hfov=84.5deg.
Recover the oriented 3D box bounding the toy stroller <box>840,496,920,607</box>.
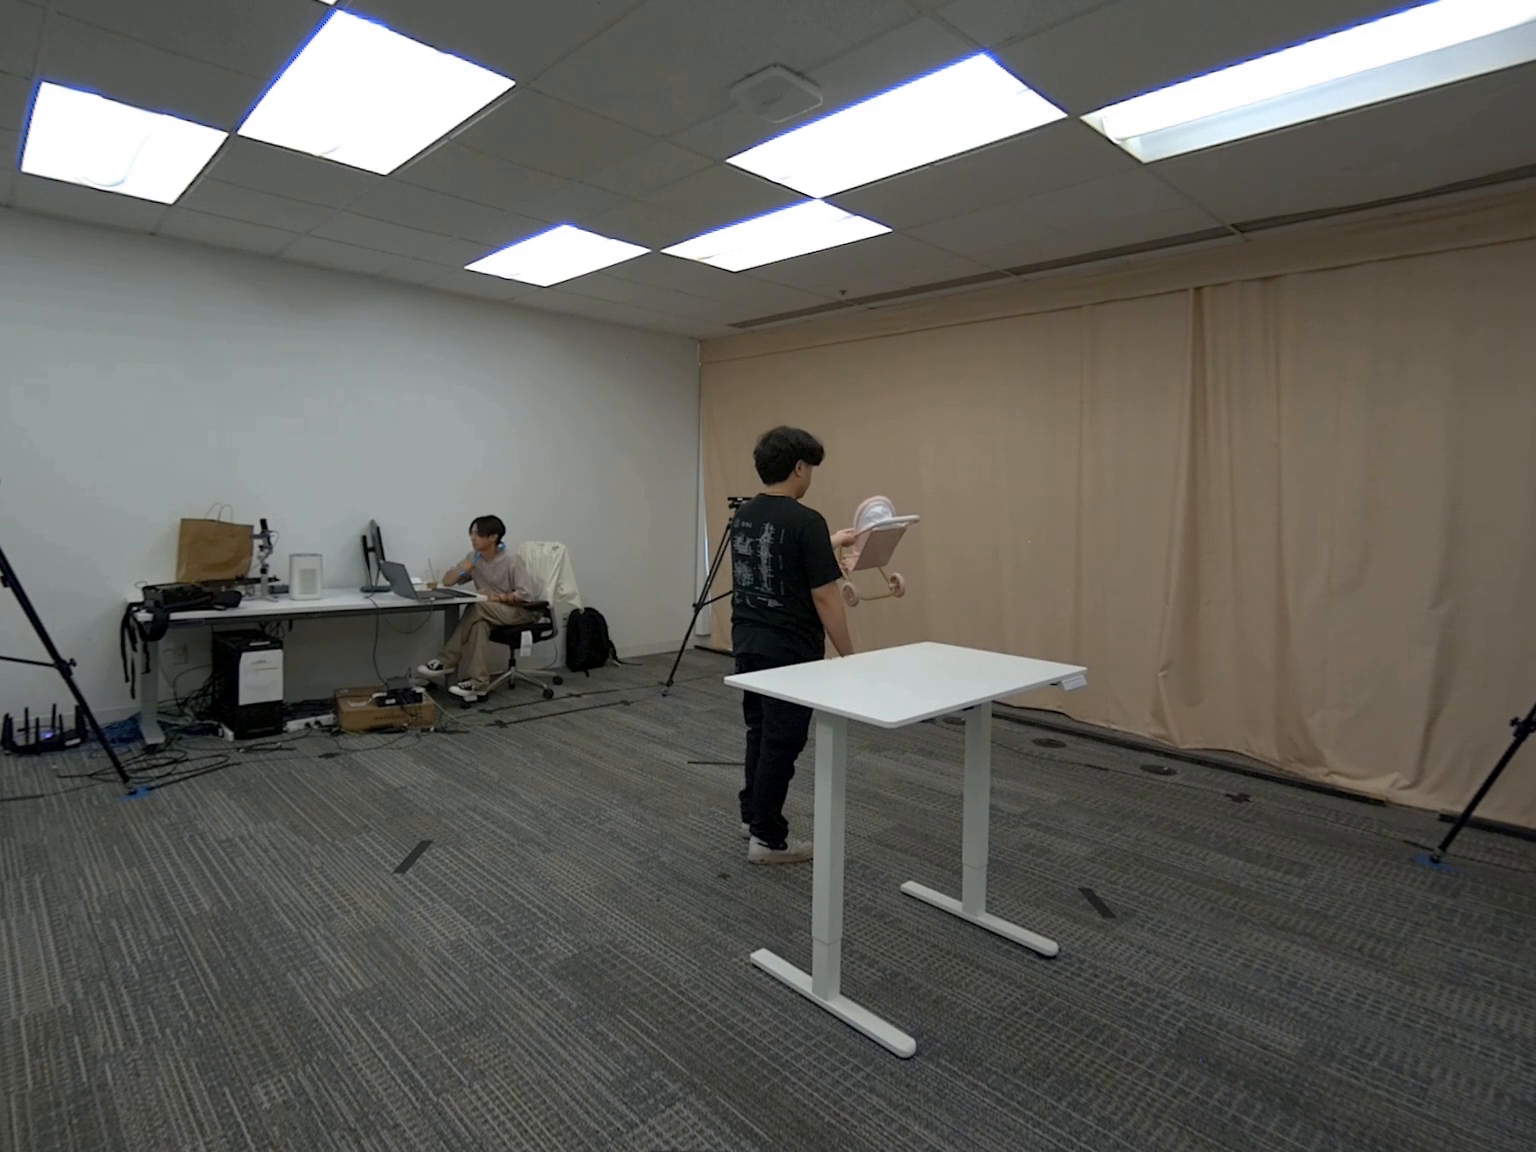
[{"bbox_3d":[0.439,-0.122,3.693,0.277,0.526,0.352,-6,38,-22],"label":"toy stroller"}]
